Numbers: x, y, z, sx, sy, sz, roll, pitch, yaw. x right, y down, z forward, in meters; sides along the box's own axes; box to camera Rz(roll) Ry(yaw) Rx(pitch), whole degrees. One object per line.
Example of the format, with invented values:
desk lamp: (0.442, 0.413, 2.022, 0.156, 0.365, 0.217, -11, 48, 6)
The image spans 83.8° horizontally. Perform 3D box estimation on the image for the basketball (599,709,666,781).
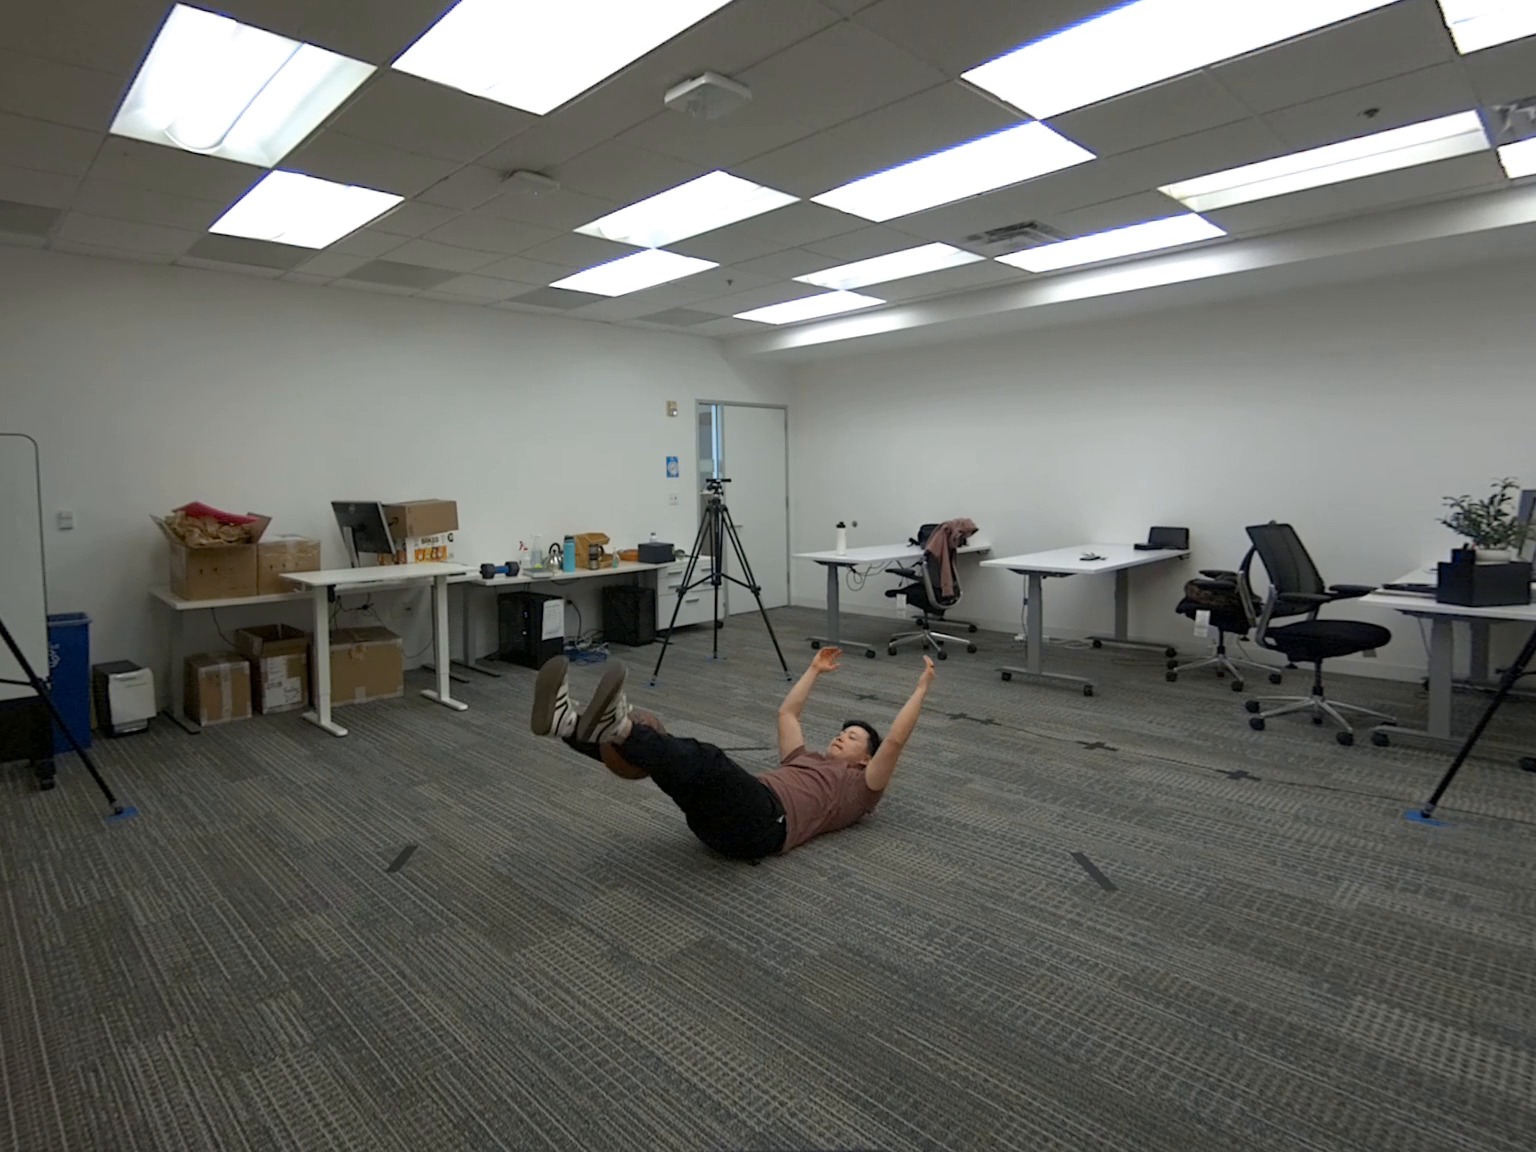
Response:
basketball: (-0.459, 0.588, 2.953, 0.236, 0.235, 0.237, -2, 5, -2)
